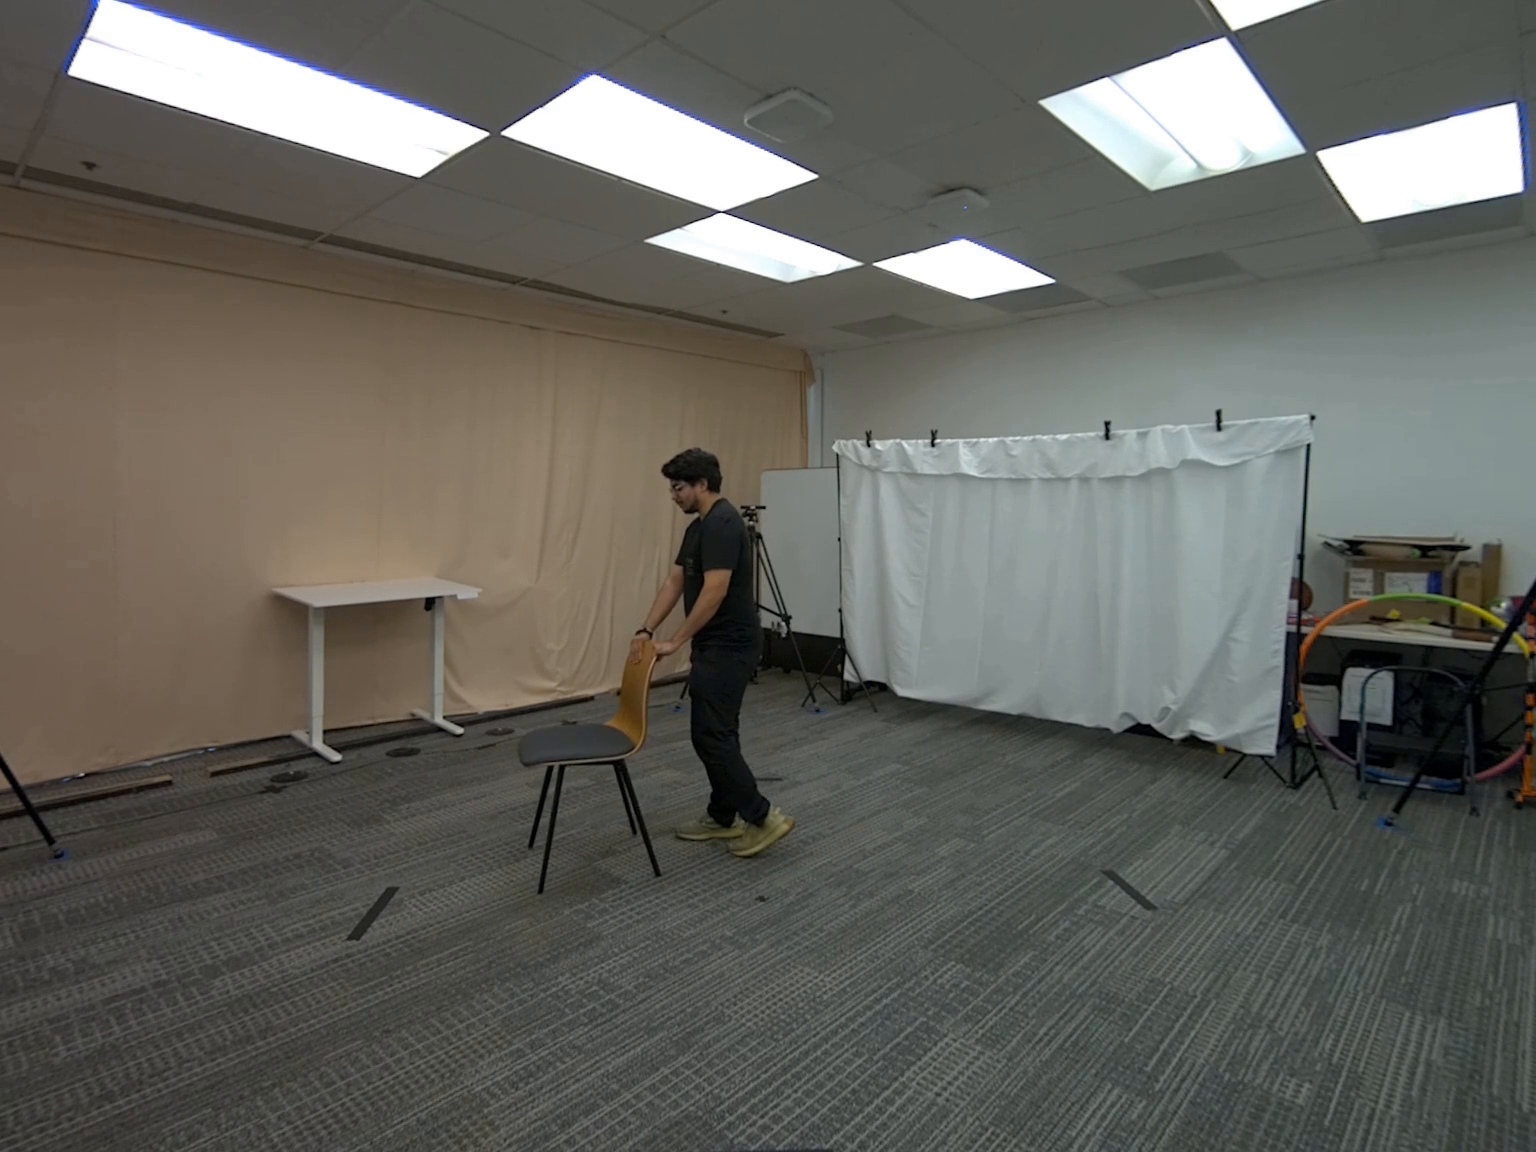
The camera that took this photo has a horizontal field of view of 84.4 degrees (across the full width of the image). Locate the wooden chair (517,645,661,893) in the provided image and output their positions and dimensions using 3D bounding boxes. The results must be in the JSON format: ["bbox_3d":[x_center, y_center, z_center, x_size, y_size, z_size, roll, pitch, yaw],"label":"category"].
[{"bbox_3d":[-0.703,0.694,3.274,0.513,0.876,0.488,3,3,-20],"label":"wooden chair"}]
